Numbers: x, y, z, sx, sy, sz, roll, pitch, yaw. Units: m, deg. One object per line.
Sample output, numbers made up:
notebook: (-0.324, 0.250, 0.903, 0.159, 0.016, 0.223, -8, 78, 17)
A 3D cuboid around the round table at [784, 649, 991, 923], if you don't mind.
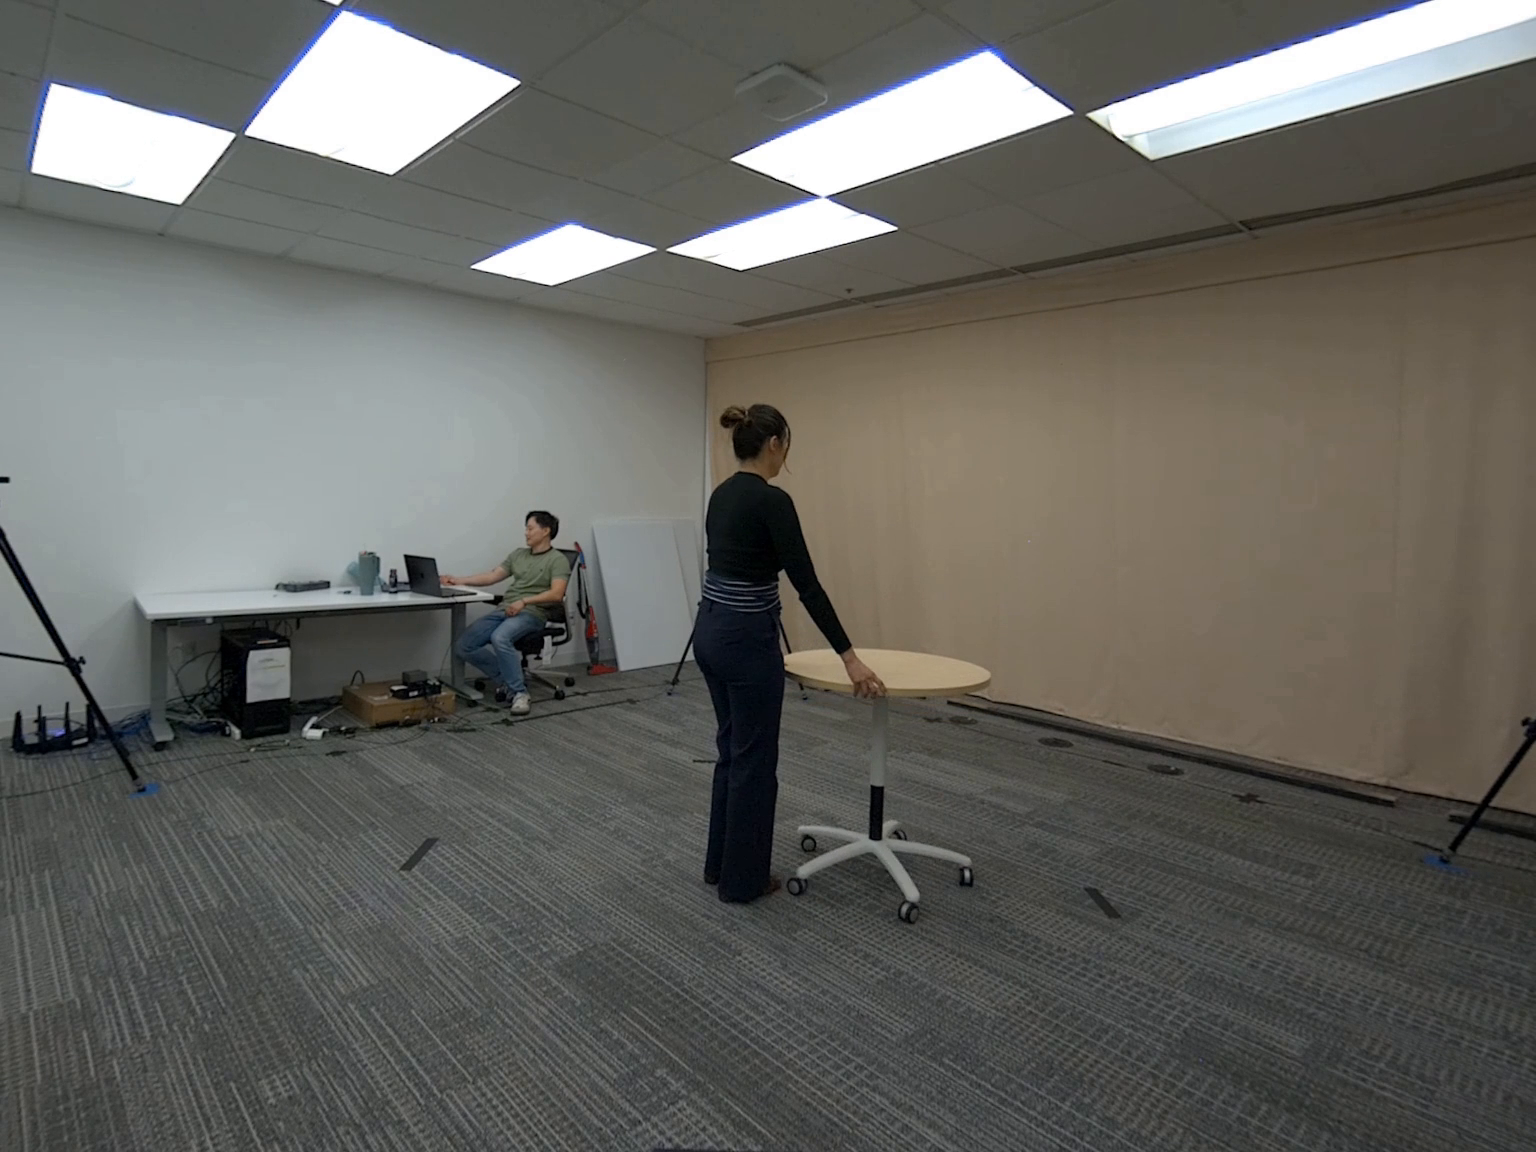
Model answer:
round table: (0.398, 0.726, 3.104, 0.763, 0.792, 0.766, 2, 3, -1)
